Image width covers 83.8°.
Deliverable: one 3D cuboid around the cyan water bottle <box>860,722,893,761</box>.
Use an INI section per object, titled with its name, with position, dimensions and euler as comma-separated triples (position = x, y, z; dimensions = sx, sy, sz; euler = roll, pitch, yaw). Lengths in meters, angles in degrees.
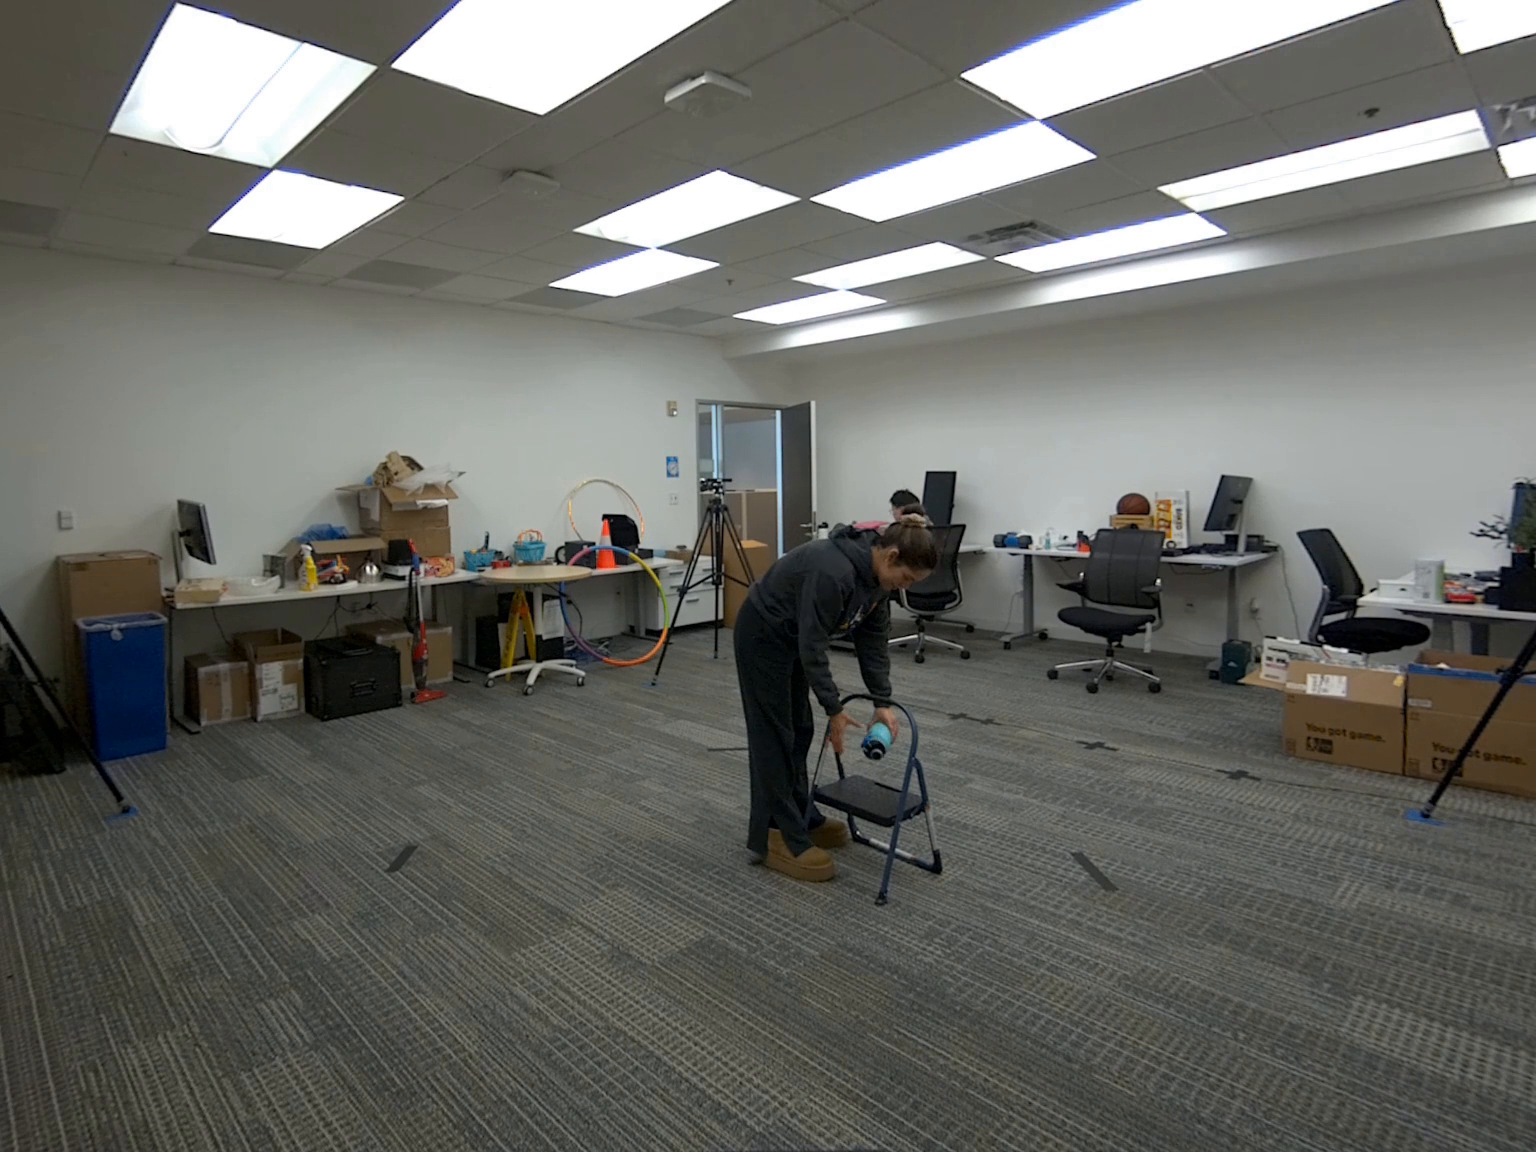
[cyan water bottle]
position = 0.406, 0.586, 3.122
dimensions = 0.094, 0.091, 0.281
euler = 0, 12, 16
